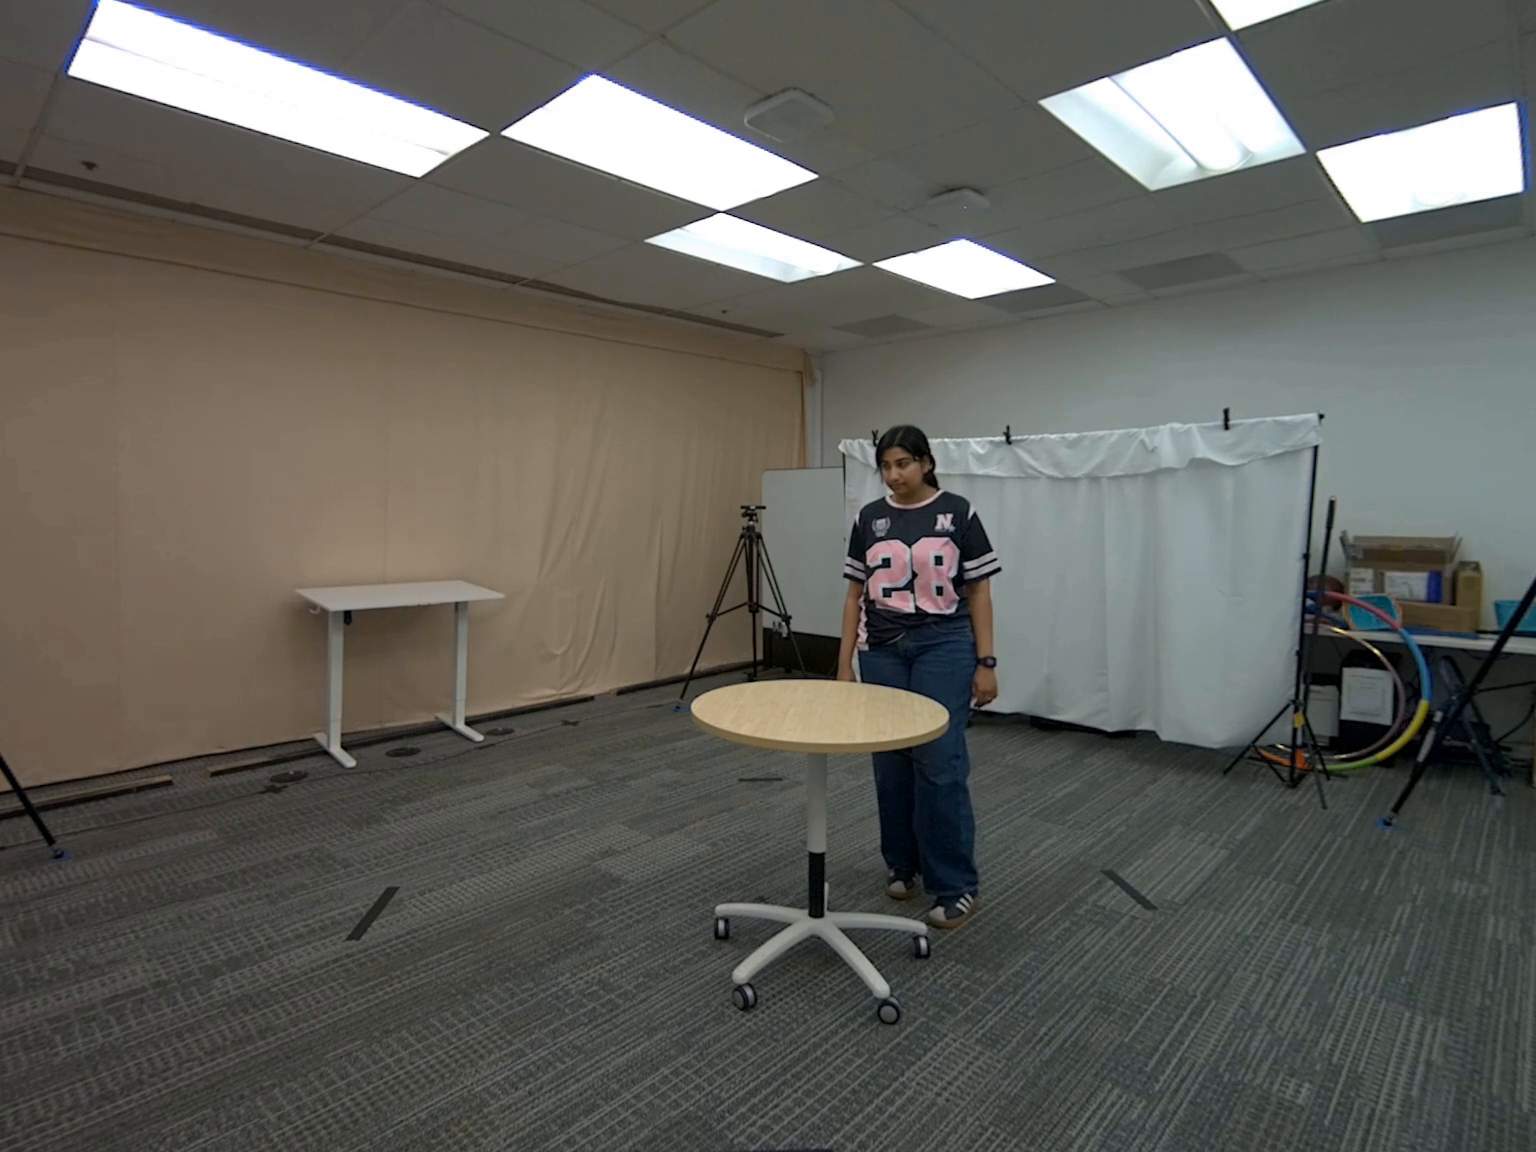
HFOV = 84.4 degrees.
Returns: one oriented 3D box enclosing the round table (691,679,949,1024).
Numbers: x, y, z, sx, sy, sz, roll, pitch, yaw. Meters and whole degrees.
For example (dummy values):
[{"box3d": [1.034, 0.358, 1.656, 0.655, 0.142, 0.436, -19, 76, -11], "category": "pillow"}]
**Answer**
[{"box3d": [0.163, 0.788, 2.554, 0.784, 0.784, 0.788, 0, 4, -2], "category": "round table"}]
